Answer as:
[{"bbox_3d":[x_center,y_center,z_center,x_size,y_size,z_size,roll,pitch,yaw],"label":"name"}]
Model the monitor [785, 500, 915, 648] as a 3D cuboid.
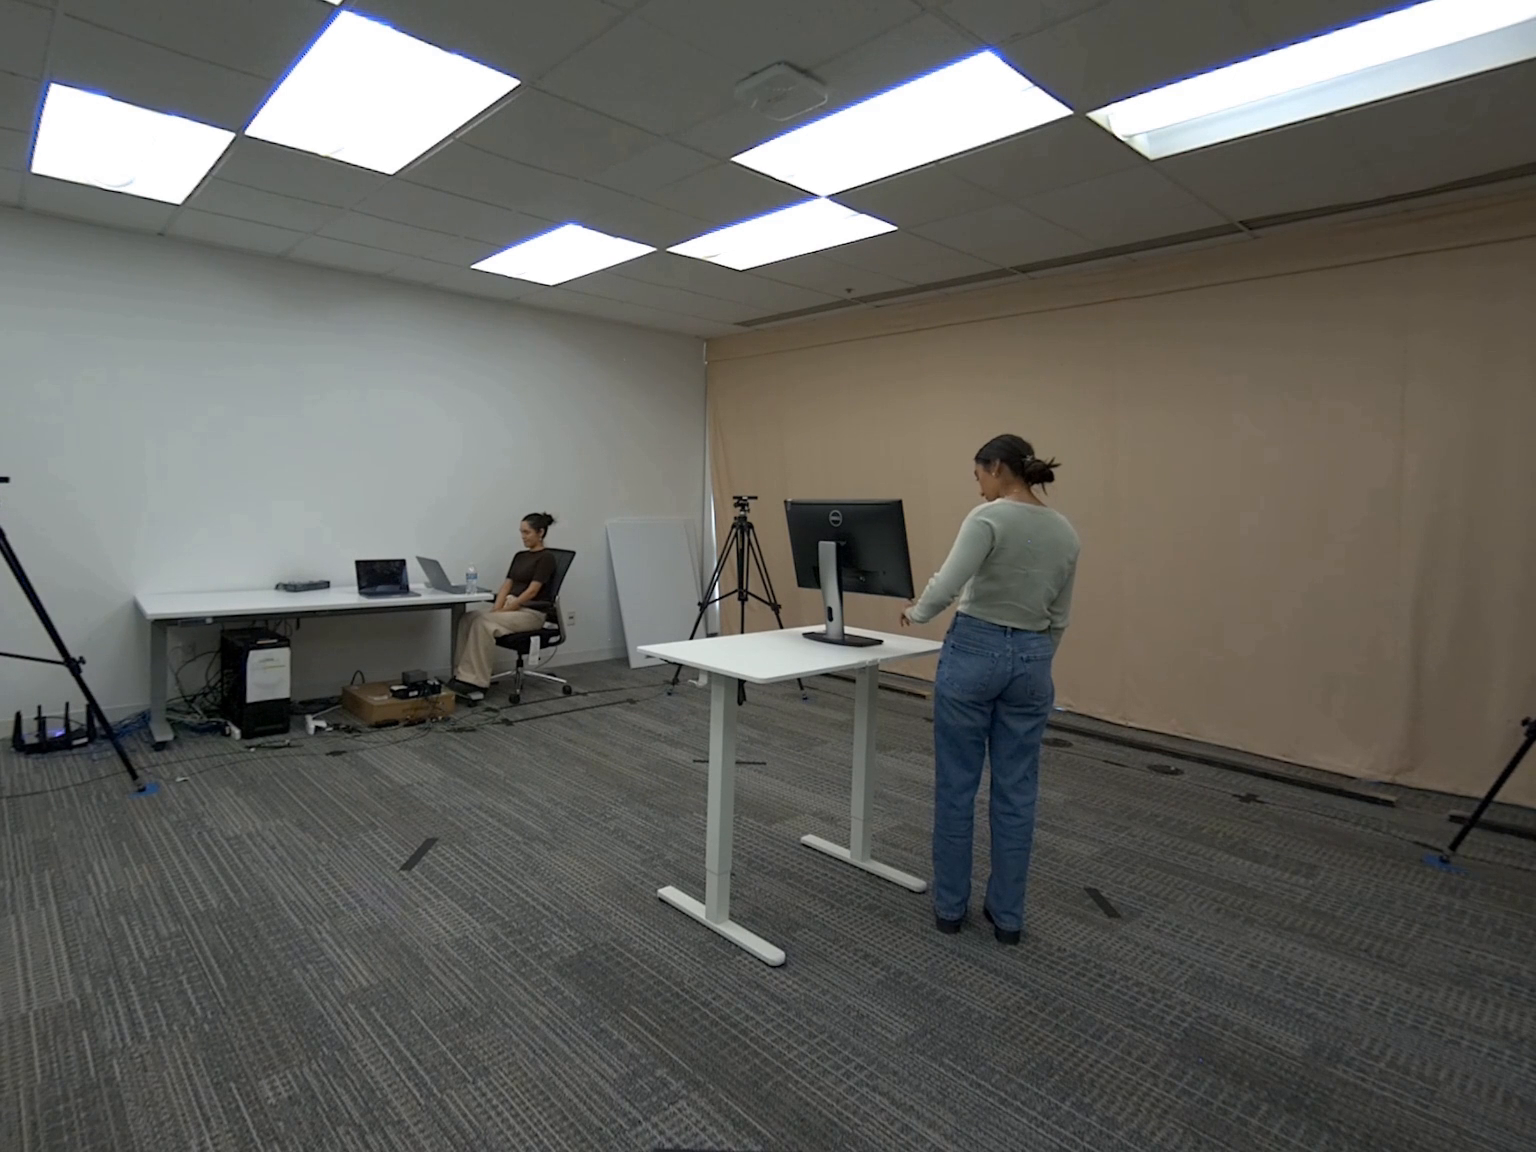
[{"bbox_3d":[0.259,-0.014,3.044,0.553,0.521,0.183,4,6,43],"label":"monitor"}]
